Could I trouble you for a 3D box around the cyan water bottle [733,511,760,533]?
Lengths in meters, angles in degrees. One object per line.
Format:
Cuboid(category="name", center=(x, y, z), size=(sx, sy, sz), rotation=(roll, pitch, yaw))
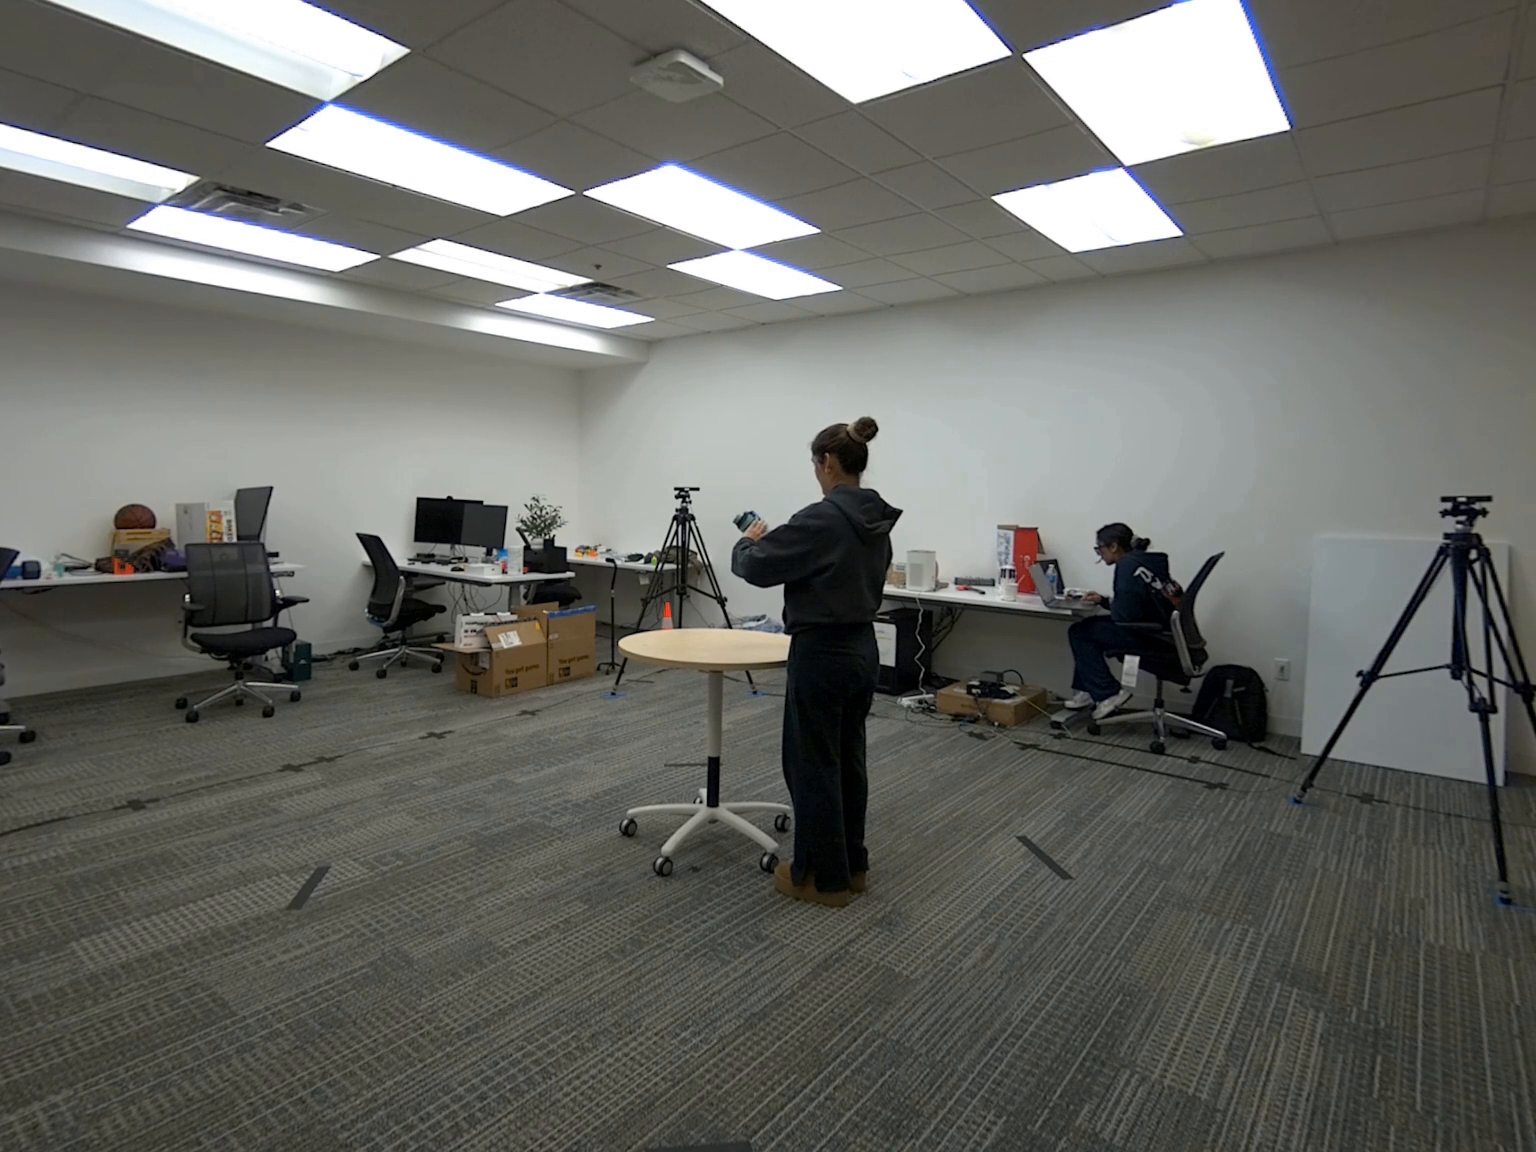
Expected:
Cuboid(category="cyan water bottle", center=(-0.012, -0.137, 3.176), size=(0.281, 0.092, 0.093), rotation=(43, -1, -5))
